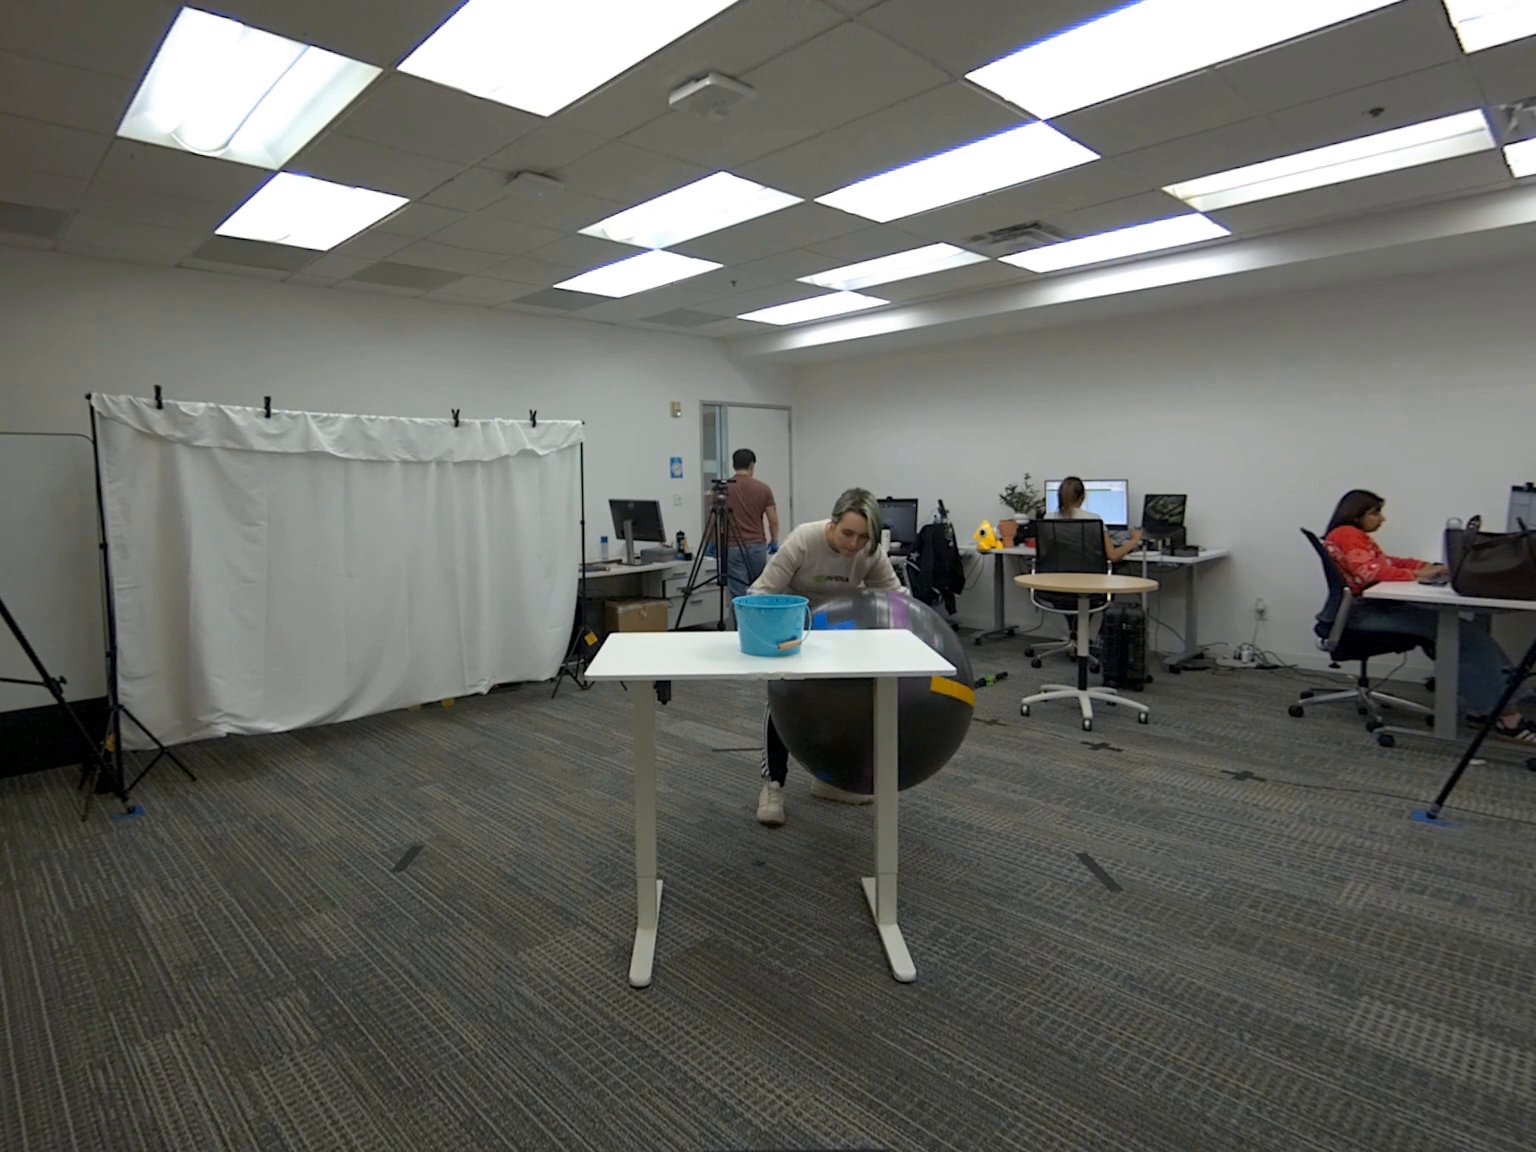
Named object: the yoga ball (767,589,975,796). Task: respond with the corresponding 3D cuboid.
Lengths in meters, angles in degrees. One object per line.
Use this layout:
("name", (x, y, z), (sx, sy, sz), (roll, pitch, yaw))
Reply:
("yoga ball", (0.381, 0.431, 3.197), (0.757, 0.755, 0.762), (-1, 5, -2))
